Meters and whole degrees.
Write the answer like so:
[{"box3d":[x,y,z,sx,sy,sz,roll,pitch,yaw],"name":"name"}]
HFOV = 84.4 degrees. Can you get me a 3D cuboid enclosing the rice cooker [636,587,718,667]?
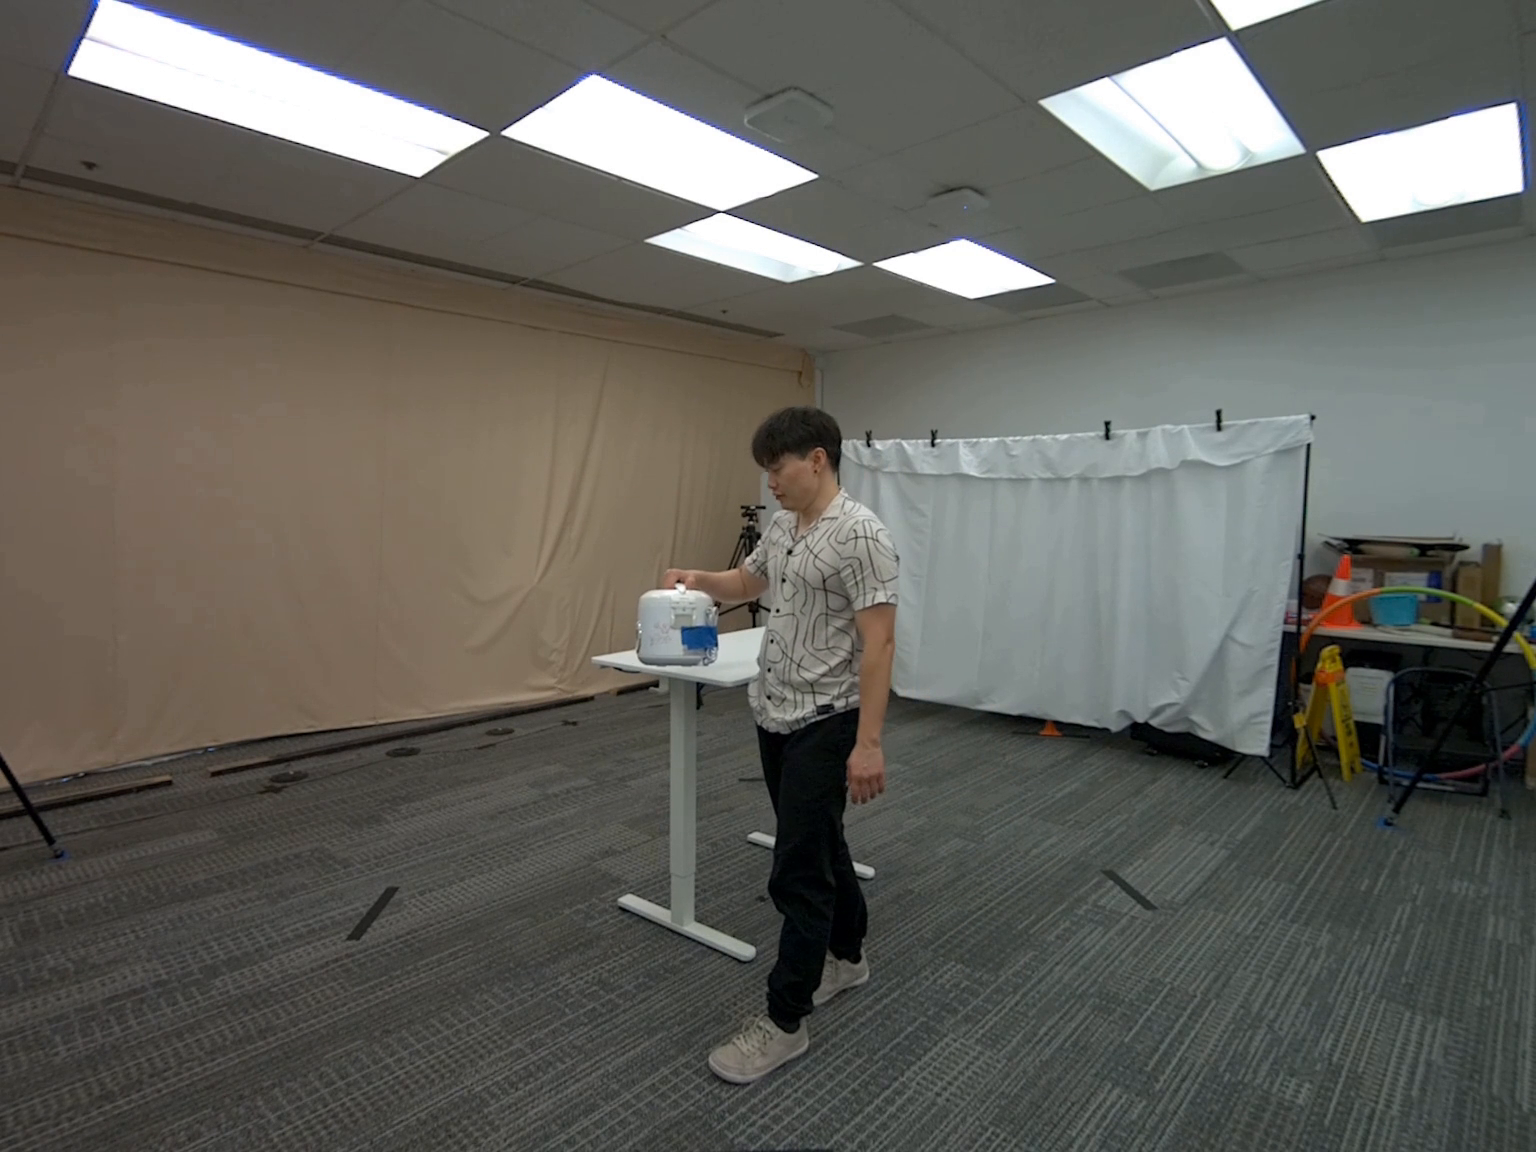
[{"box3d":[-0.255,0.138,2.346,0.214,0.234,0.223,2,-7,-14],"name":"rice cooker"}]
